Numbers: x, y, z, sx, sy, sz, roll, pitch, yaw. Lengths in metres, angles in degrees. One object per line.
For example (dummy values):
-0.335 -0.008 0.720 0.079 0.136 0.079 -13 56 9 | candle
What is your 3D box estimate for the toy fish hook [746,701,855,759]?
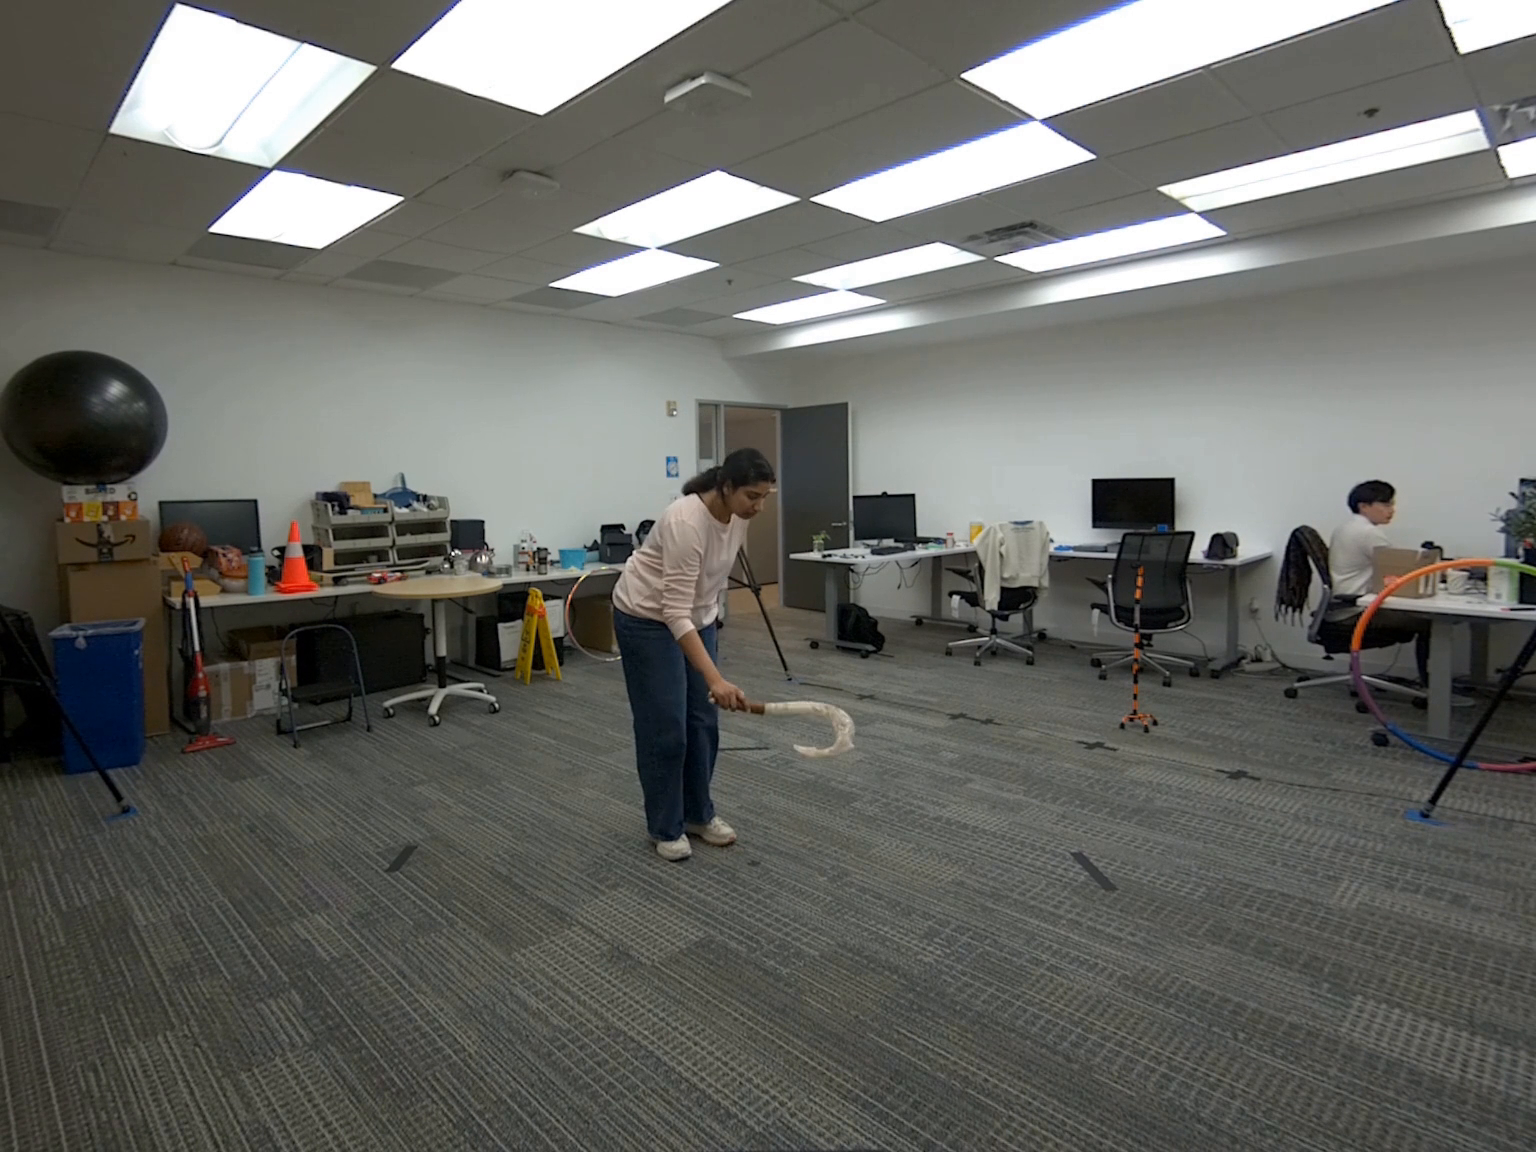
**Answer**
0.028 0.484 2.838 0.509 0.047 0.229 8 39 5 | toy fish hook
